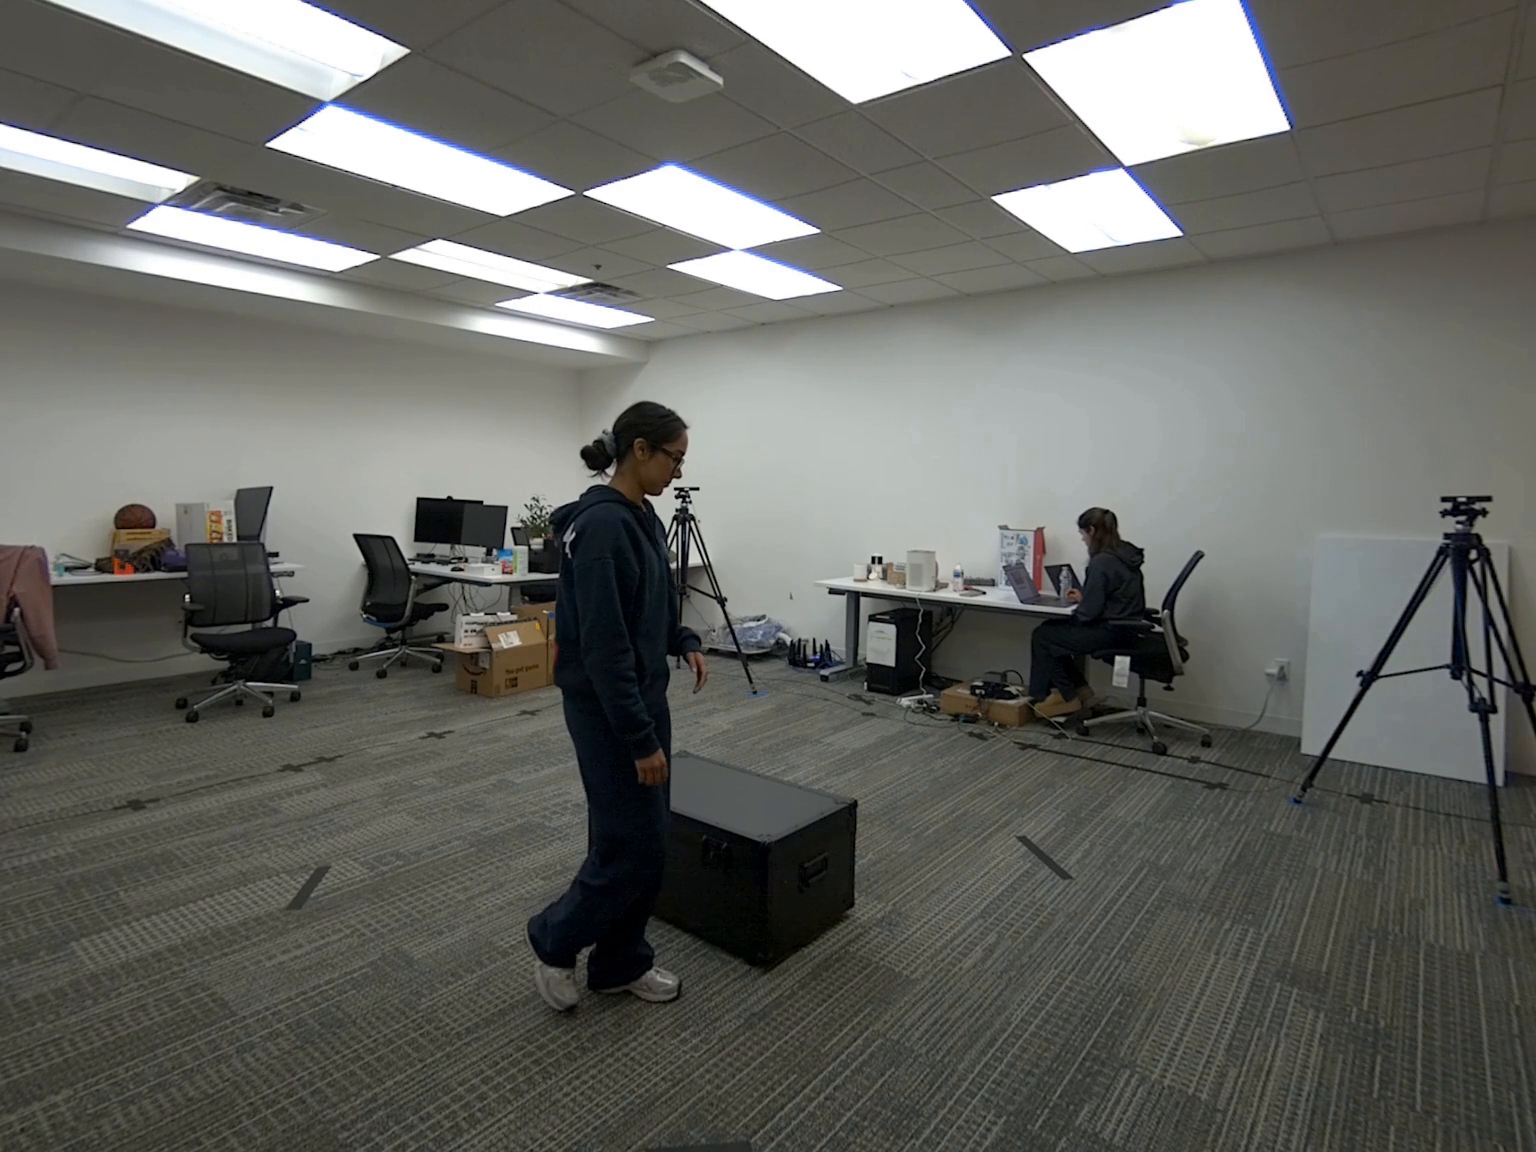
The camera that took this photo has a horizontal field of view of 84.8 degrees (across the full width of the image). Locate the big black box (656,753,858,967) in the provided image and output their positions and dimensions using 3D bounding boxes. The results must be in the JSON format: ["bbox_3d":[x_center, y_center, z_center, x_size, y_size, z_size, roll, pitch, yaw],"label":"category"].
[{"bbox_3d":[-0.199,0.899,2.878,0.891,0.395,0.506,6,7,38],"label":"big black box"}]
